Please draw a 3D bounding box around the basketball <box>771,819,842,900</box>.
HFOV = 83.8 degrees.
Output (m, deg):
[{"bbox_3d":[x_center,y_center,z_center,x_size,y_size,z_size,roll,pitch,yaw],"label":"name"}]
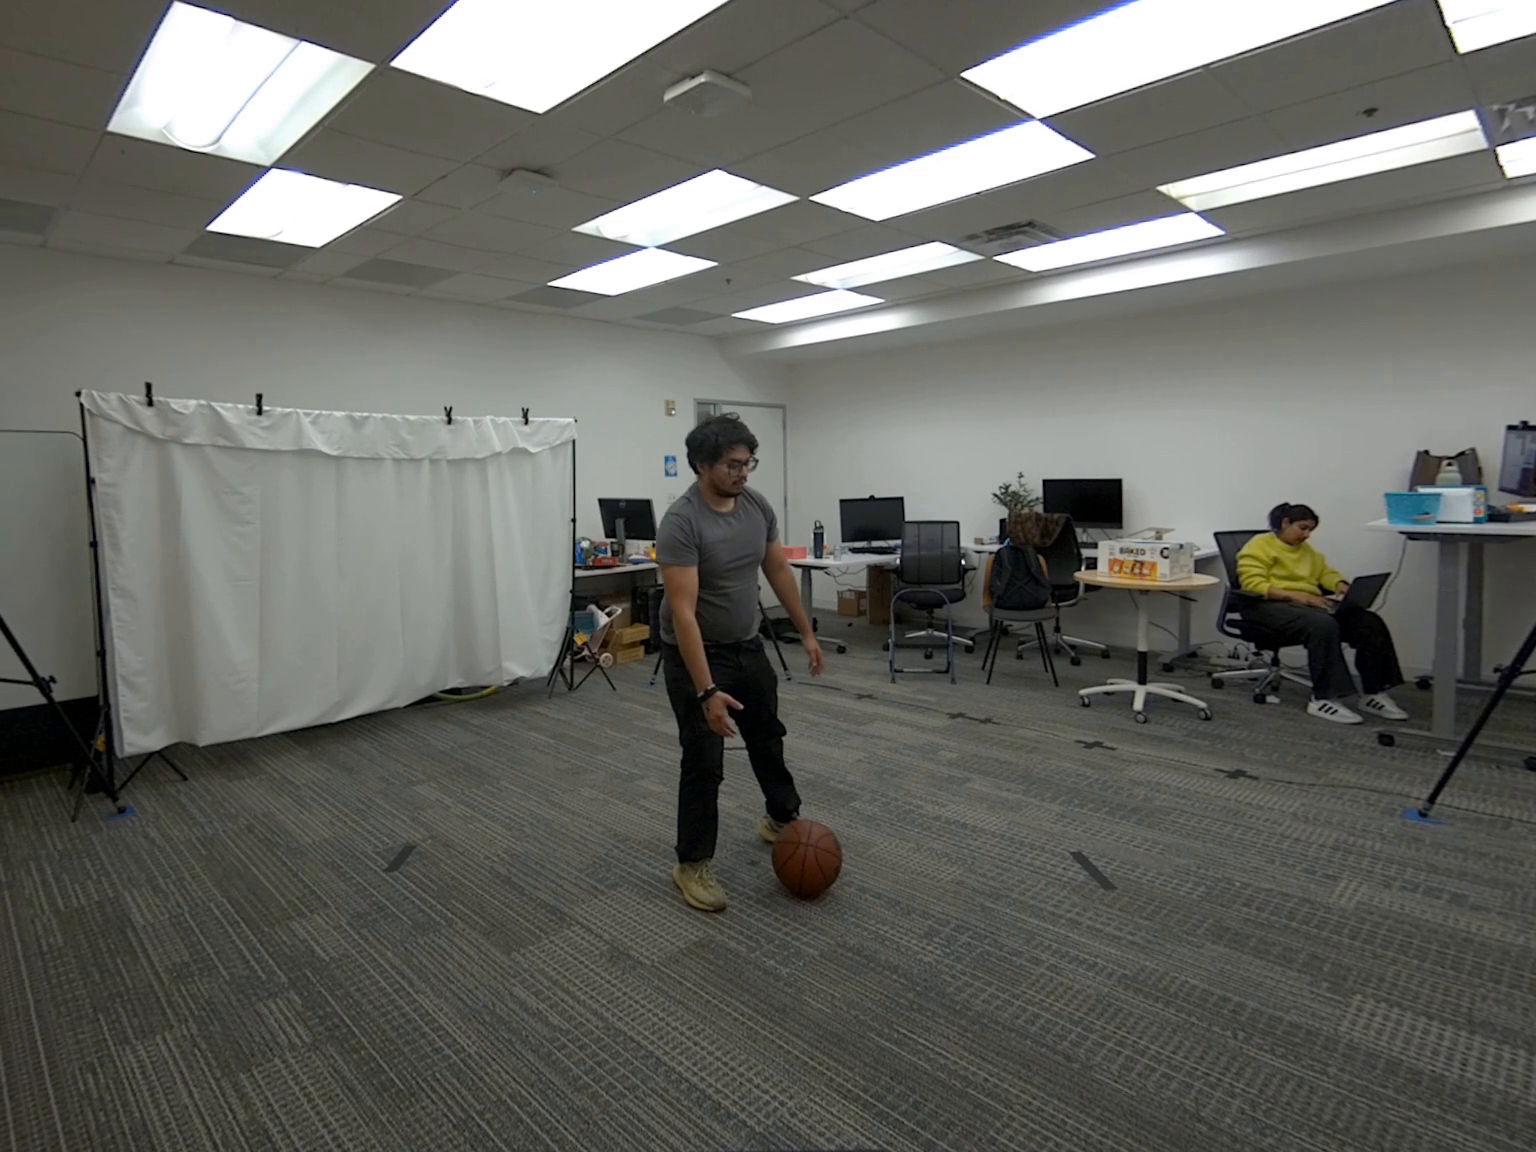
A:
[{"bbox_3d":[0.131,0.941,2.878,0.236,0.235,0.237,-1,5,-2],"label":"basketball"}]
